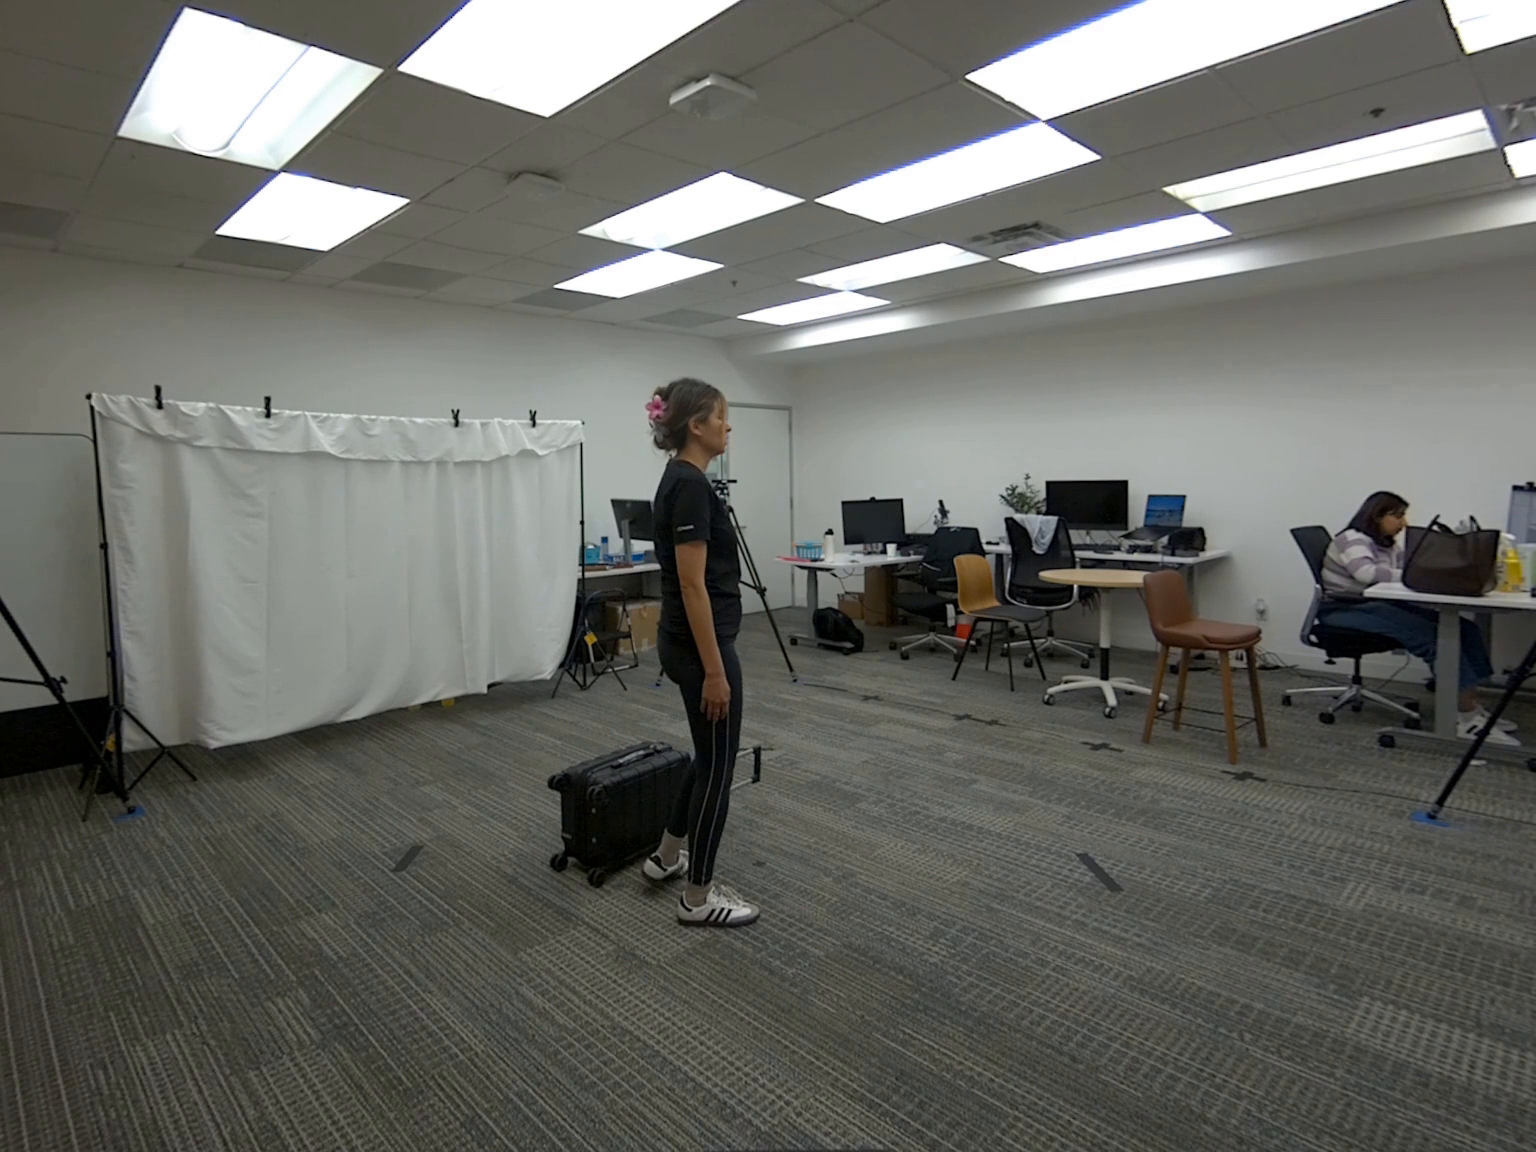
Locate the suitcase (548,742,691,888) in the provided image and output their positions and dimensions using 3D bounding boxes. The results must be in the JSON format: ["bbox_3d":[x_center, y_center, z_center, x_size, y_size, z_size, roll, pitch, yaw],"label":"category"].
[{"bbox_3d":[-0.414,0.836,3.379,0.264,0.382,0.955,2,7,36],"label":"suitcase"}]
